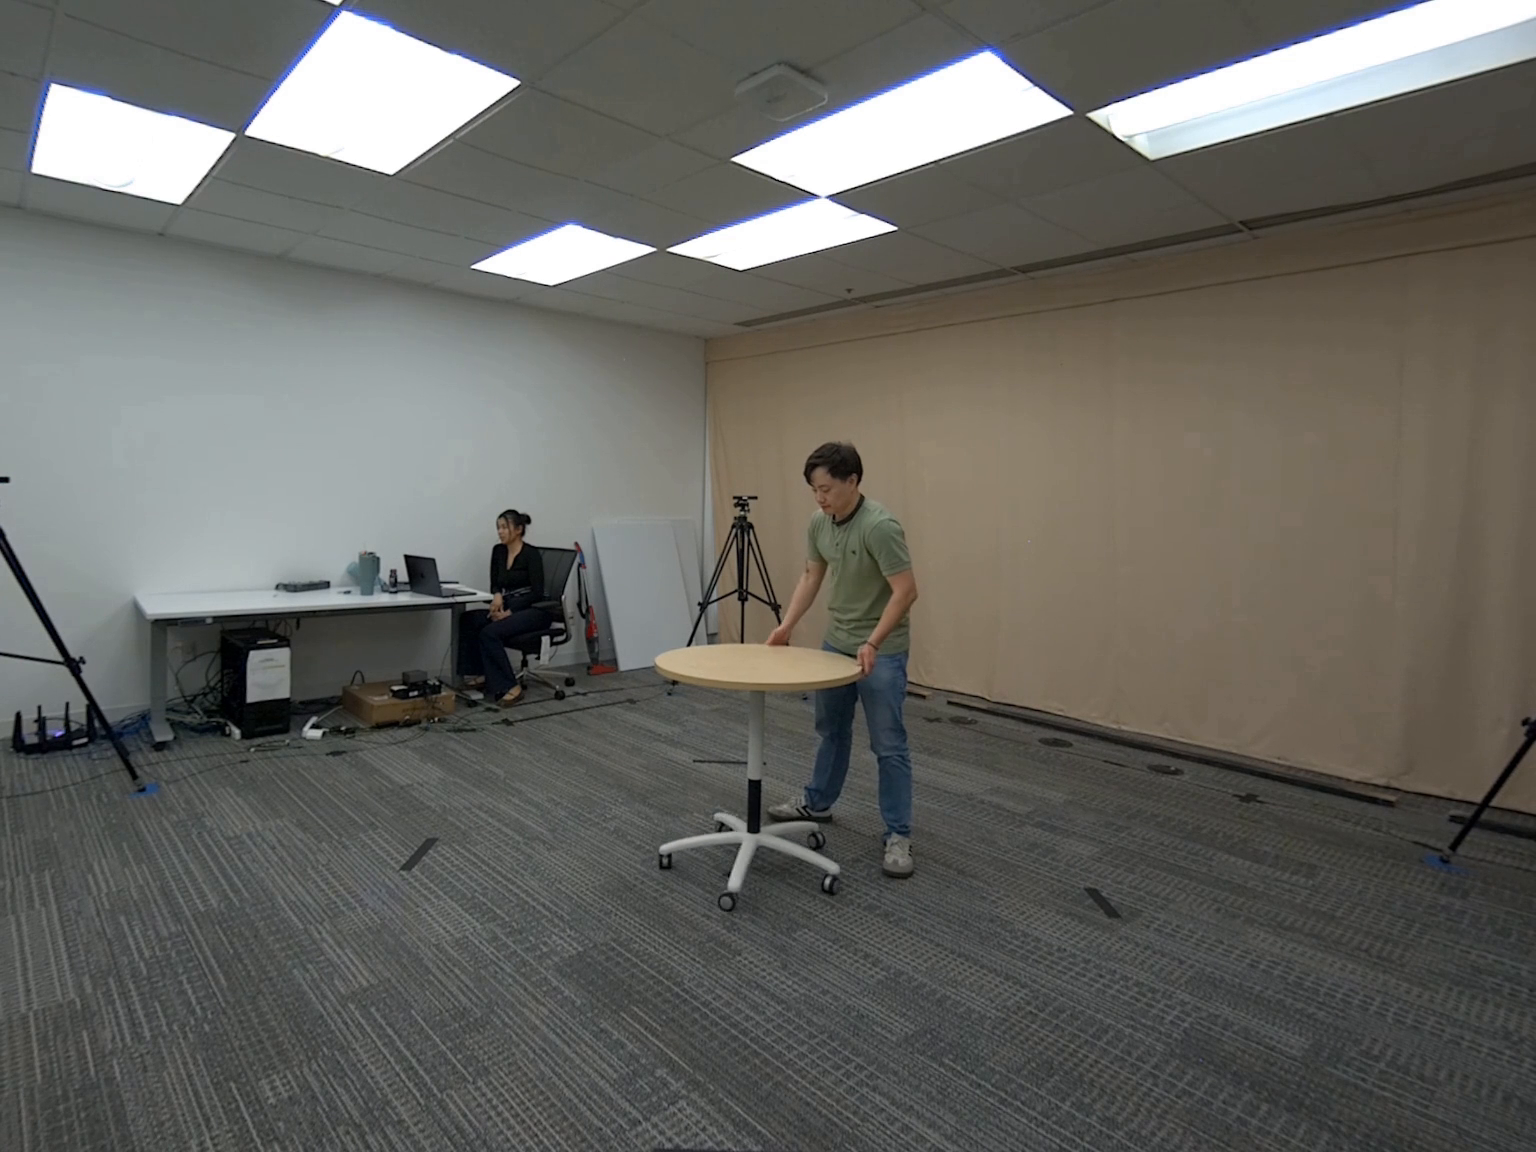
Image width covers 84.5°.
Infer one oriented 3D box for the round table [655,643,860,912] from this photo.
[{"bbox_3d":[-0.050,0.710,3.146,0.763,0.792,0.766,2,4,-1],"label":"round table"}]
